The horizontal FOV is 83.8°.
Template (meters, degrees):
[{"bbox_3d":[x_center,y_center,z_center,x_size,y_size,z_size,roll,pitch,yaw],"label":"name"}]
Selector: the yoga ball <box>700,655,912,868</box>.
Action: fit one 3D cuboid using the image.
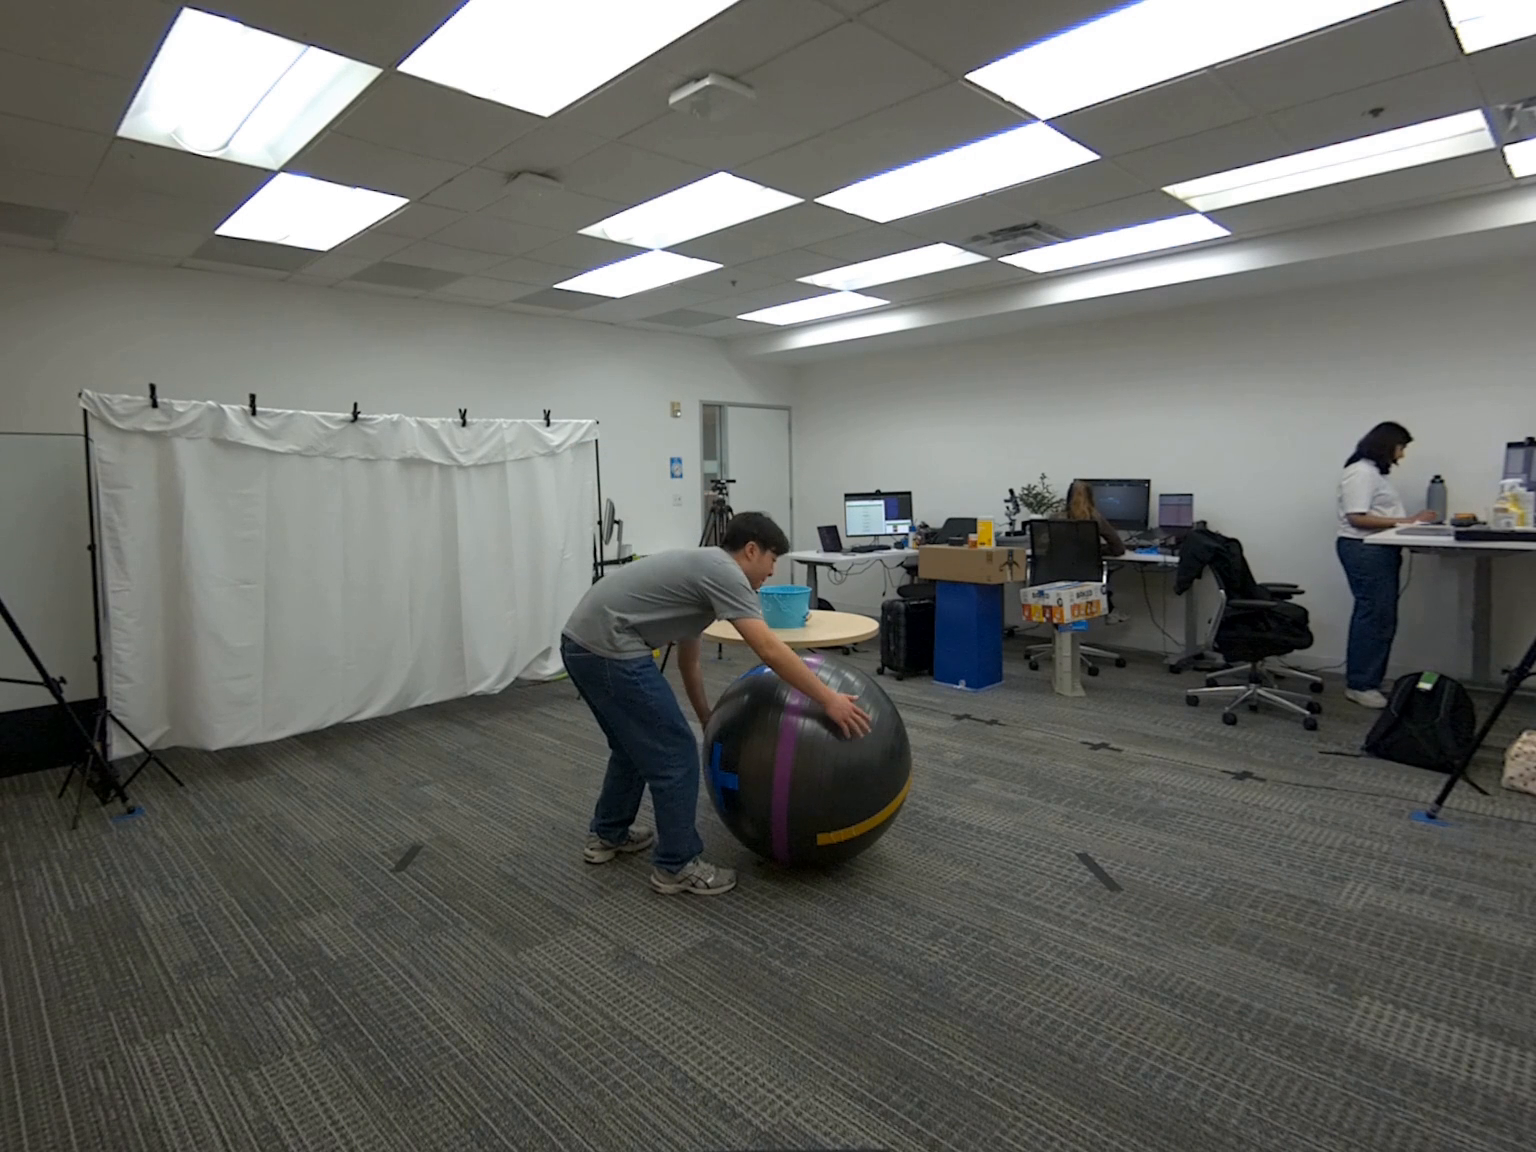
[{"bbox_3d":[0.144,0.669,3.133,0.757,0.755,0.762,-1,5,-2],"label":"yoga ball"}]
